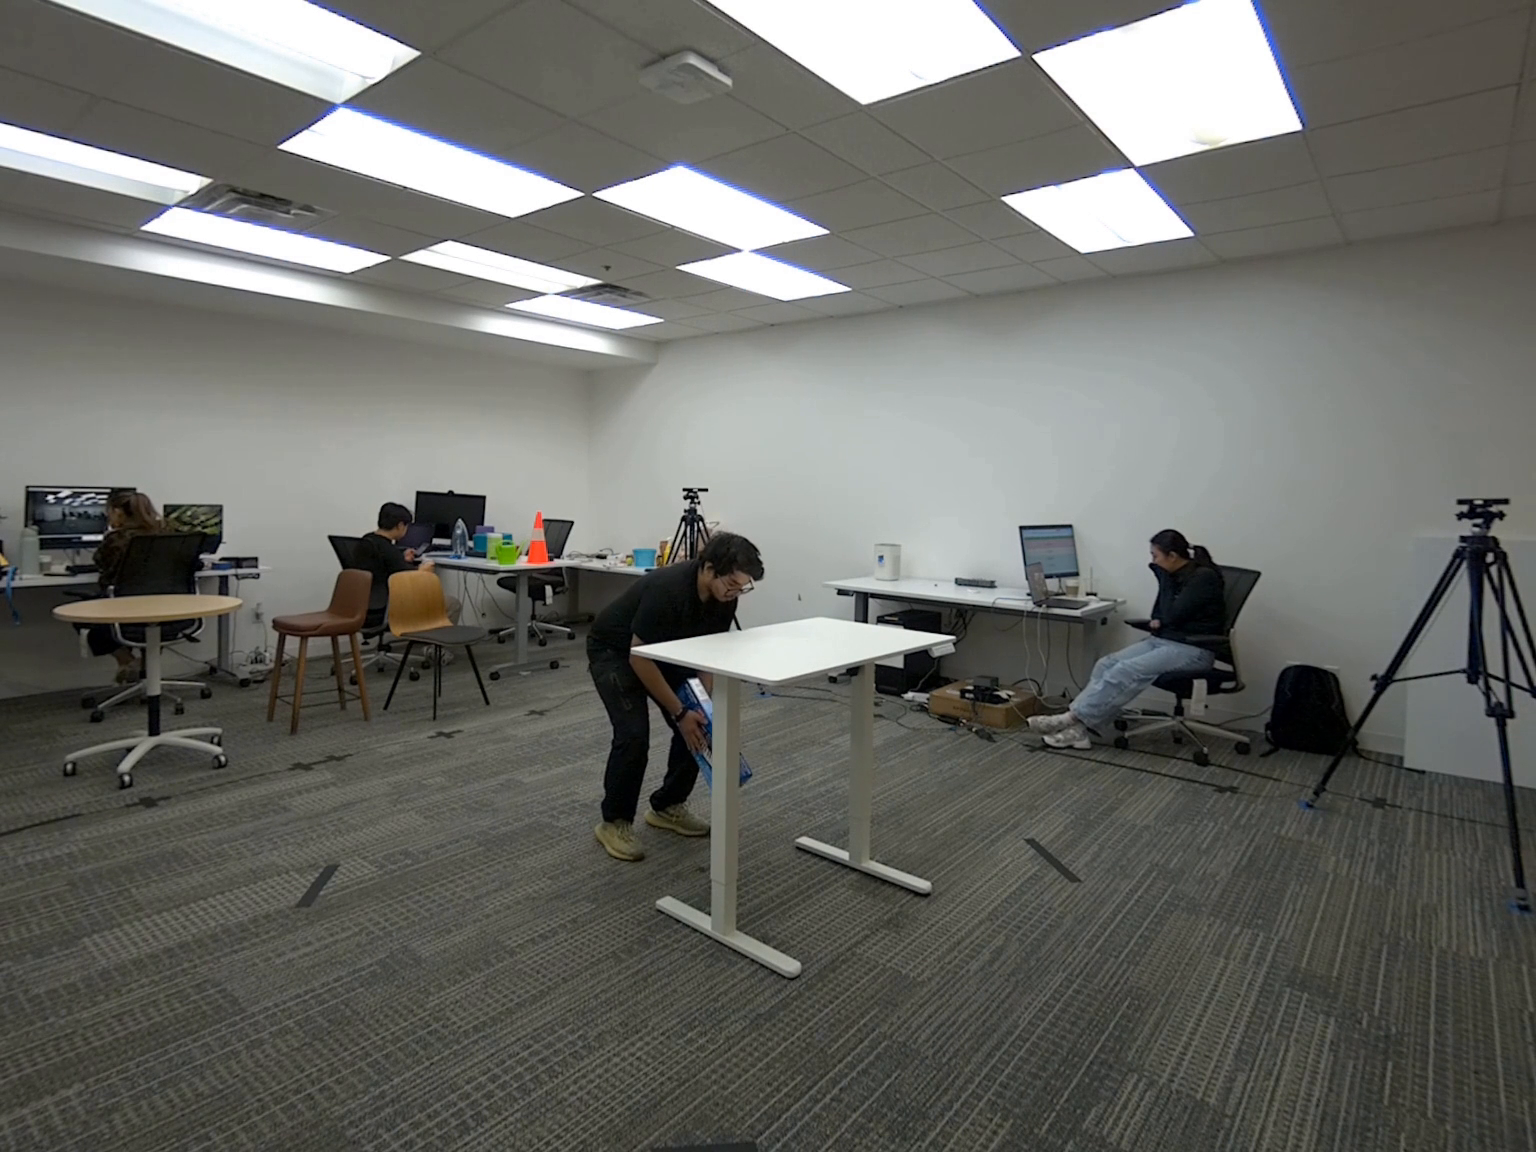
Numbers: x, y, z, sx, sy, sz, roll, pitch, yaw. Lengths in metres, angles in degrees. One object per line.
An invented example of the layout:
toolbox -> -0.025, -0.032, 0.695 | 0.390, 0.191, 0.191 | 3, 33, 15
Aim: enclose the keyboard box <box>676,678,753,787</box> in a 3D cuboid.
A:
keyboard box -> -0.233, 0.614, 3.190 | 0.057, 0.175, 0.453 | 1, 46, -44
